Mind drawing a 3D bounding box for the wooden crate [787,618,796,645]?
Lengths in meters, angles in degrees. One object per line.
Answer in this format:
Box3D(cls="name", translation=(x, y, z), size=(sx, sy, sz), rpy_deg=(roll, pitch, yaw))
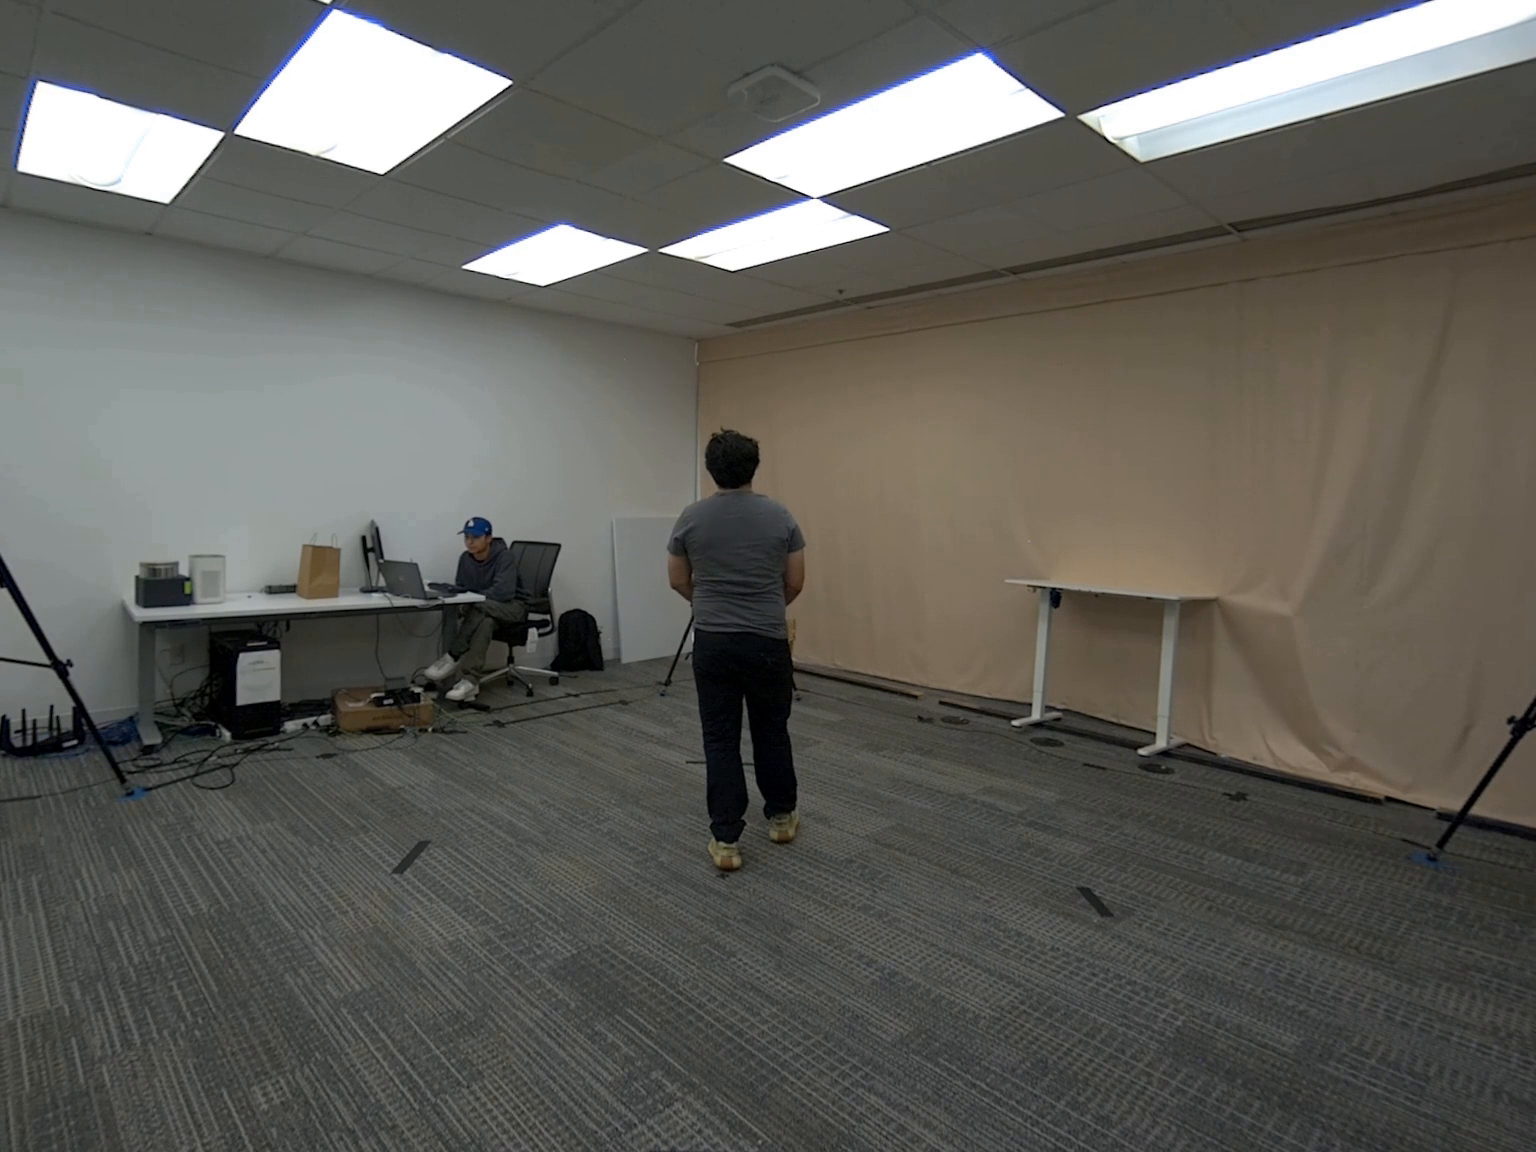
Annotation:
Box3D(cls="wooden crate", translation=(-0.063, 0.322, 3.698), size=(0.322, 0.275, 0.303), rpy_deg=(4, -7, -10))
